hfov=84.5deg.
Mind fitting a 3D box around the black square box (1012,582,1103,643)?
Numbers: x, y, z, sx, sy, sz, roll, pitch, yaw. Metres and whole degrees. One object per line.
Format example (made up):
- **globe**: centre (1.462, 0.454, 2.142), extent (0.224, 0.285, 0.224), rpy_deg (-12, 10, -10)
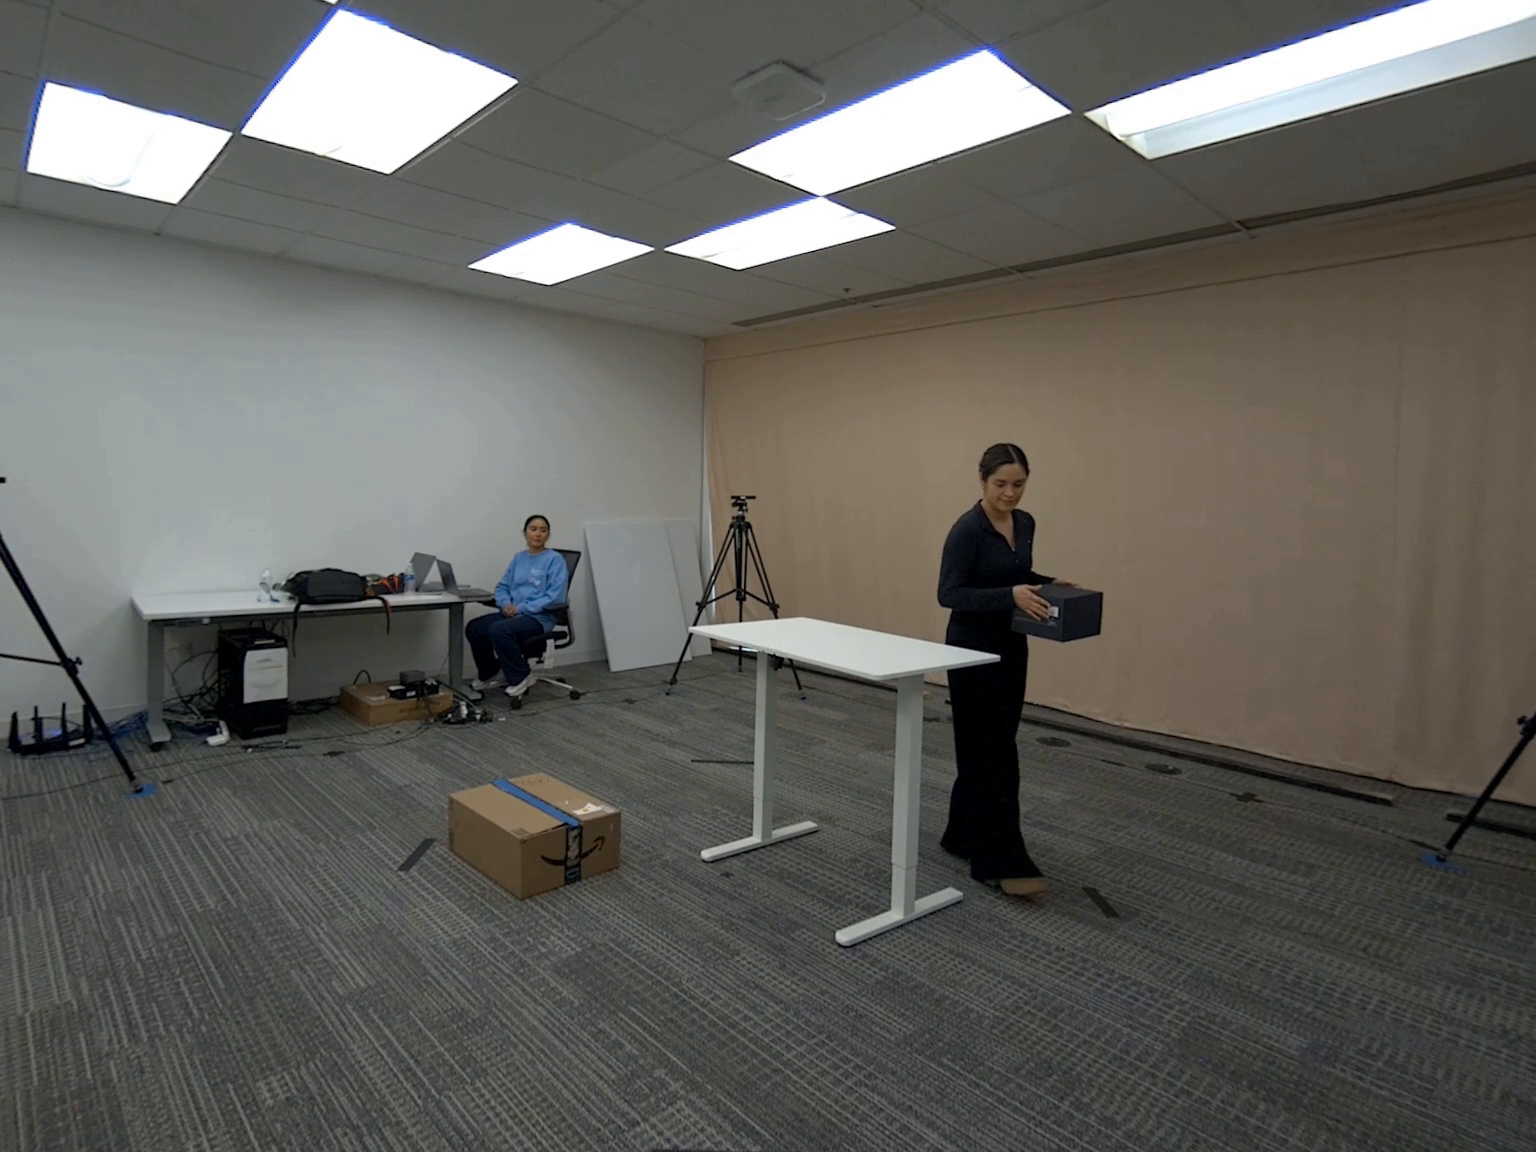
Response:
- **black square box**: centre (1.019, 0.126, 3.012), extent (0.223, 0.155, 0.222), rpy_deg (-7, 10, -34)
